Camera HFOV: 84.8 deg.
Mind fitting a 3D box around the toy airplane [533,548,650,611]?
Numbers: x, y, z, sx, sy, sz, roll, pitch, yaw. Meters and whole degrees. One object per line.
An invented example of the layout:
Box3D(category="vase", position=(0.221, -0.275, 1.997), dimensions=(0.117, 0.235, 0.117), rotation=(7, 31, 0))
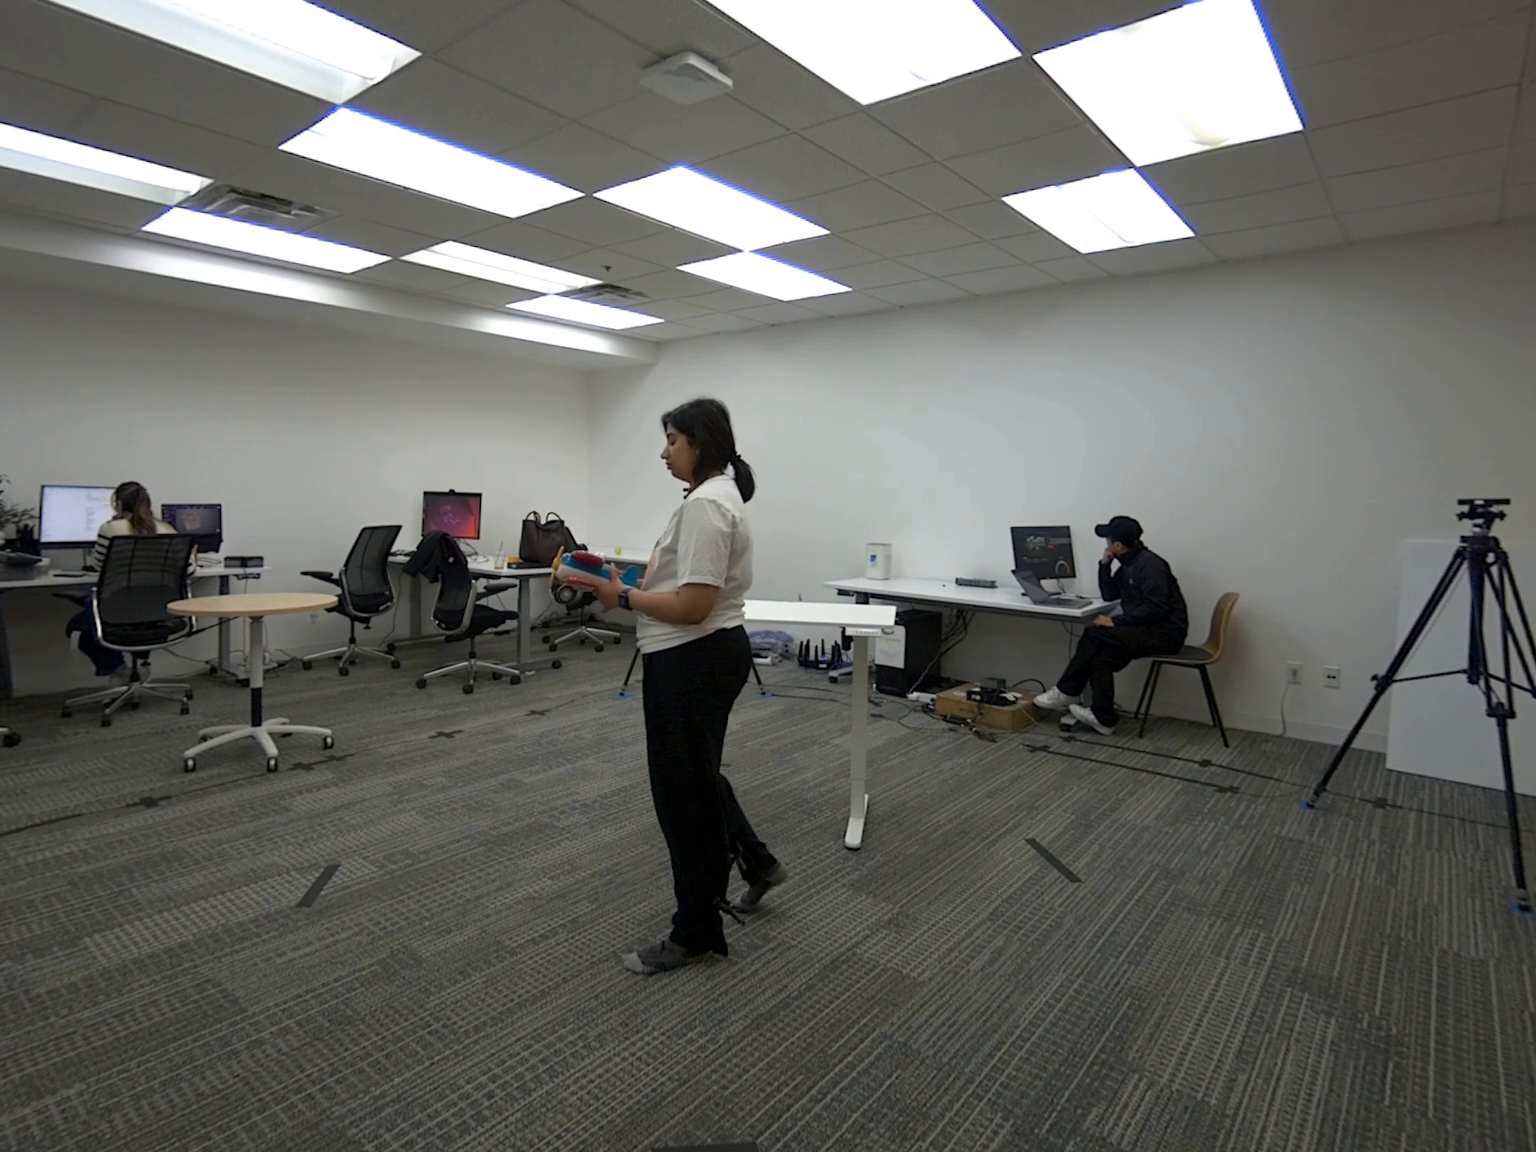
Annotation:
Box3D(category="toy airplane", position=(-0.529, 0.015, 2.564), dimensions=(0.258, 0.157, 0.250), rotation=(-3, -9, 44))
